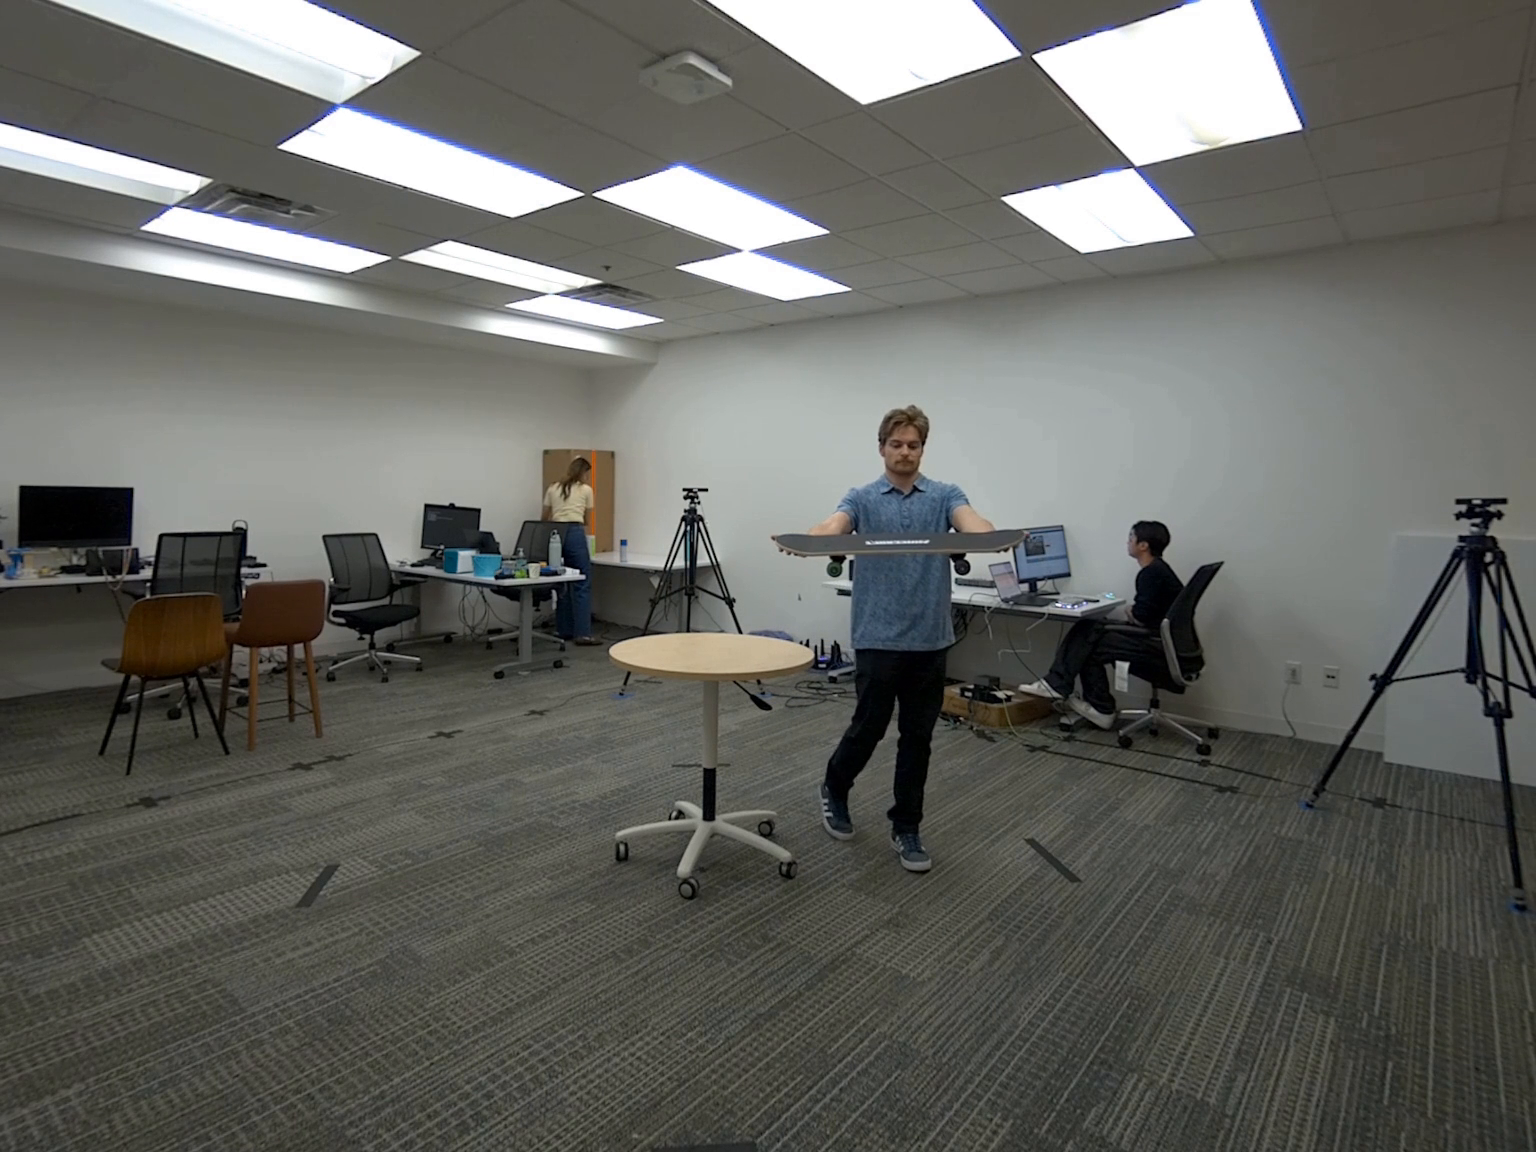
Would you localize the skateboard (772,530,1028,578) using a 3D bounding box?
[{"bbox_3d":[0.406,-0.081,2.745,0.789,0.108,0.196,-1,20,4],"label":"skateboard"}]
